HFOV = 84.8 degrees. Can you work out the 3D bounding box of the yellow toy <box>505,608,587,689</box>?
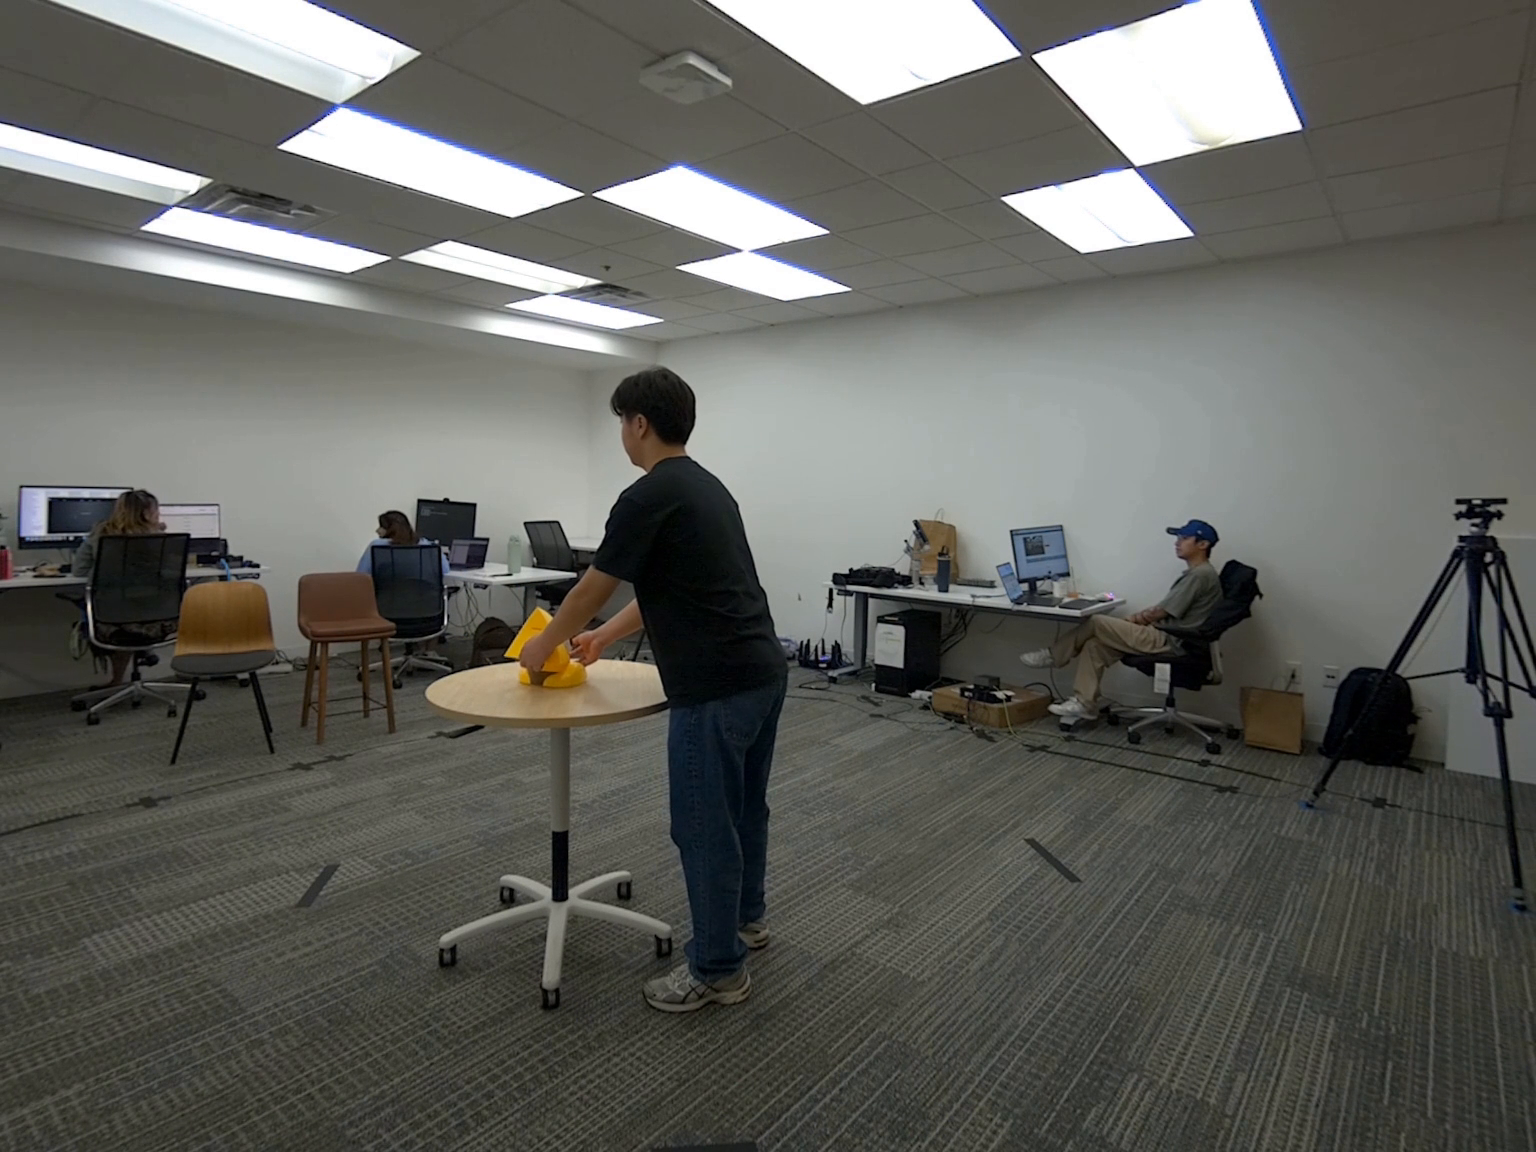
[{"bbox_3d":[-0.672,0.199,2.555,0.210,0.229,0.189,4,7,24],"label":"yellow toy"}]
